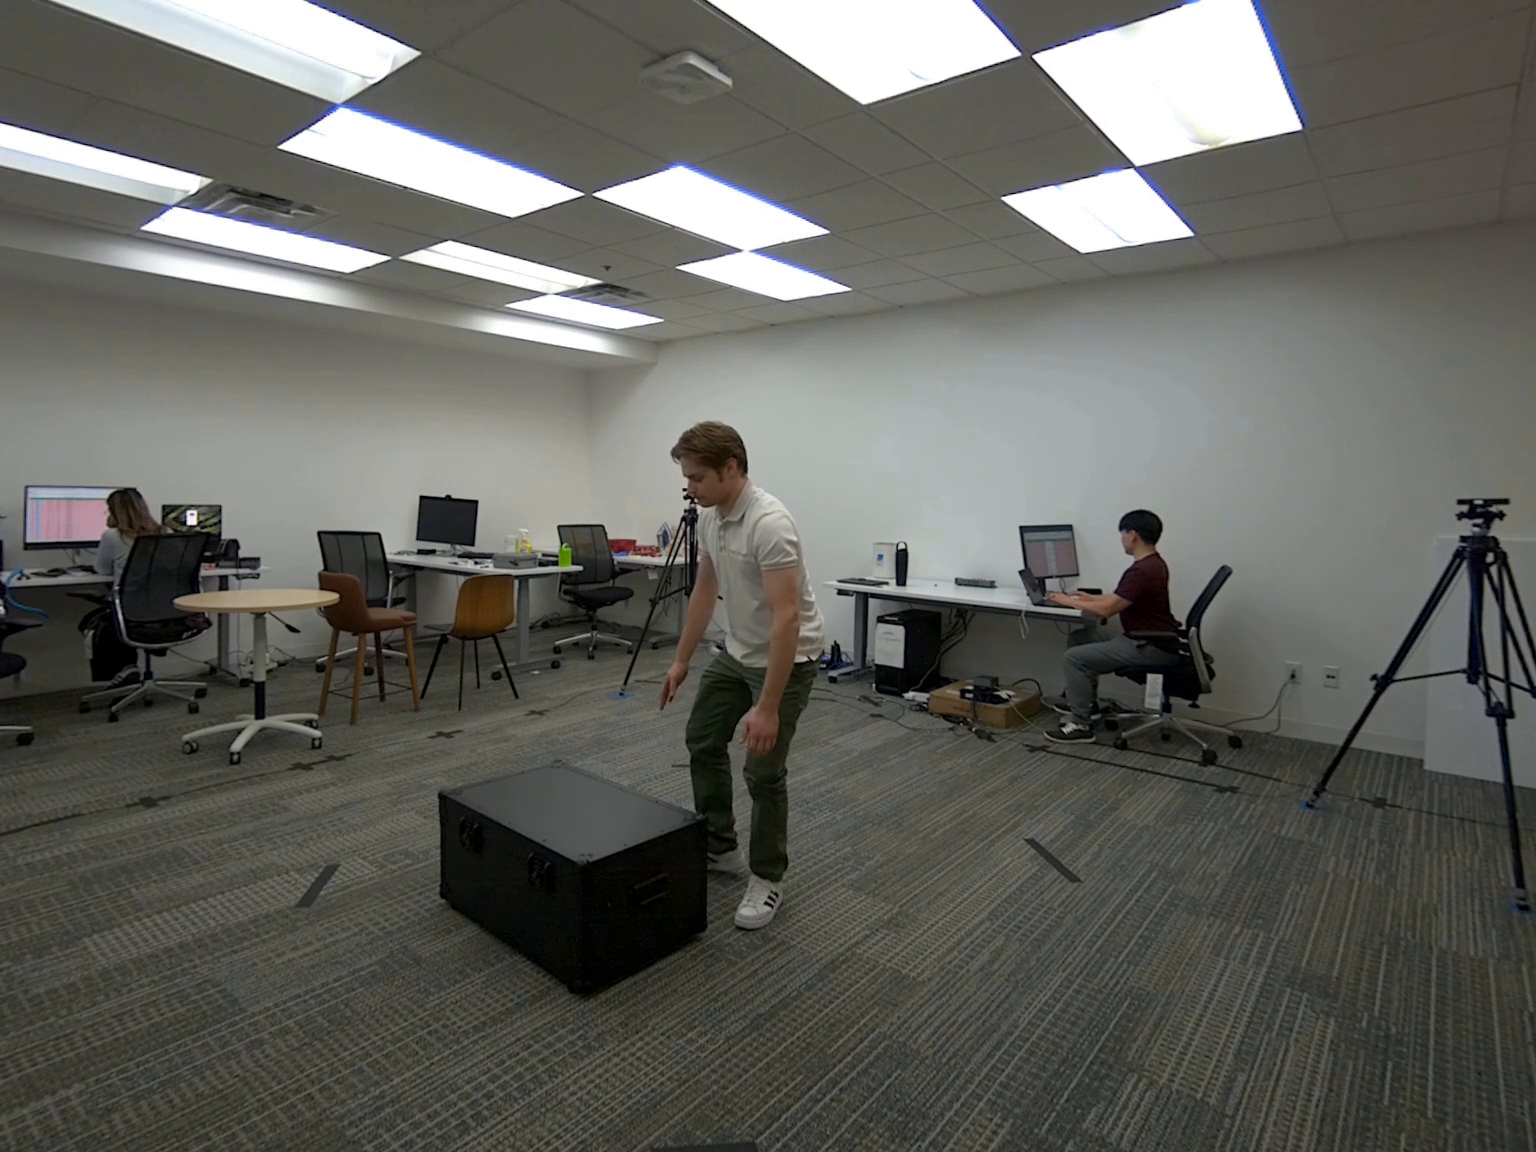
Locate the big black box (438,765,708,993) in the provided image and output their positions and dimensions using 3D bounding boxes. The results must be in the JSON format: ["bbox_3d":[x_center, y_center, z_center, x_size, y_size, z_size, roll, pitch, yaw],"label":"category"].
[{"bbox_3d":[-0.667,0.899,2.744,0.898,0.383,0.508,6,8,42],"label":"big black box"}]
